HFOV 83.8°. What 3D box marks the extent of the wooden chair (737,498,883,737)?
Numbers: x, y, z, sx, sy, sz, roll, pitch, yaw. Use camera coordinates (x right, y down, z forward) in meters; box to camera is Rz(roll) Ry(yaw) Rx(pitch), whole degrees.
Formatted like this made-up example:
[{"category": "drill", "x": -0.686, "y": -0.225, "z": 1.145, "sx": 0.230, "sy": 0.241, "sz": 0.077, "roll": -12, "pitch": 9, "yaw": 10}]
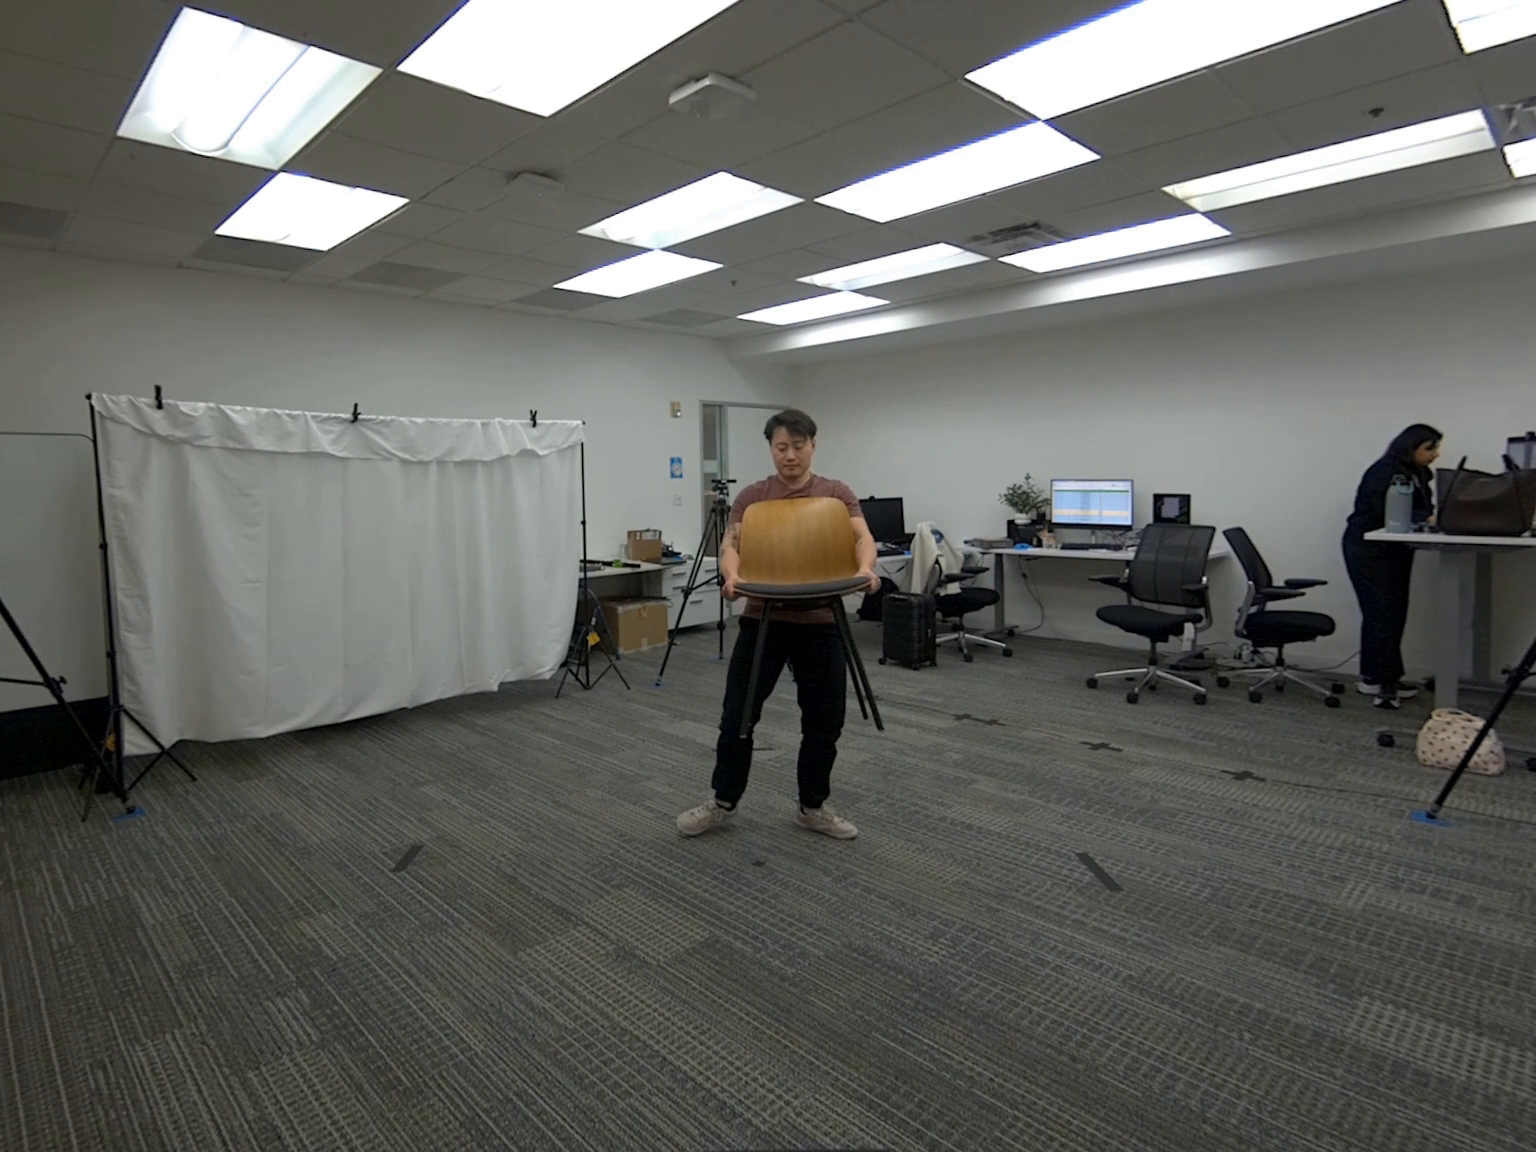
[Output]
[{"category": "wooden chair", "x": 0.115, "y": 0.102, "z": 2.968, "sx": 0.479, "sy": 0.887, "sz": 0.516, "roll": -3, "pitch": -11, "yaw": 1}]
